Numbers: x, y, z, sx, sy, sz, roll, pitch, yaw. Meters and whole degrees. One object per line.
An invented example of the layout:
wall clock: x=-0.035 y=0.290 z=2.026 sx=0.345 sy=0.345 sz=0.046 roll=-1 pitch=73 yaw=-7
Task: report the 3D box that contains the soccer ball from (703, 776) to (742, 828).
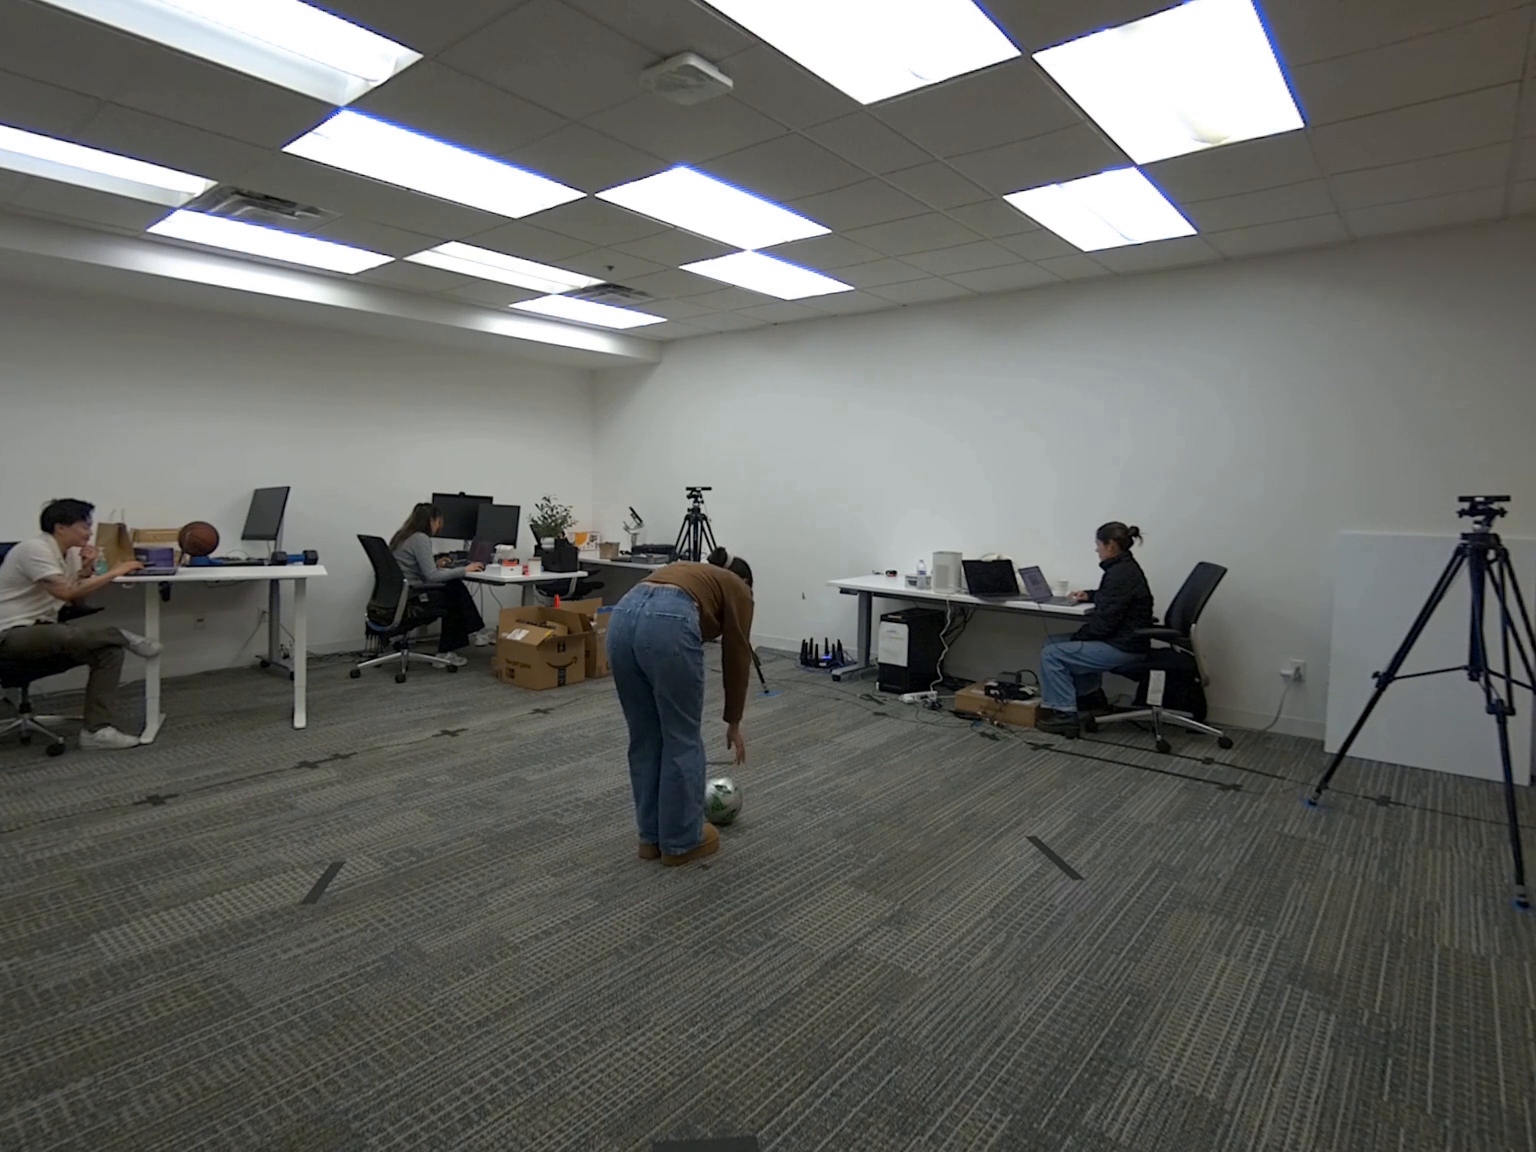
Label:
soccer ball: x=-0.211 y=0.934 z=3.544 sx=0.187 sy=0.187 sz=0.188 roll=1 pitch=4 yaw=-2
